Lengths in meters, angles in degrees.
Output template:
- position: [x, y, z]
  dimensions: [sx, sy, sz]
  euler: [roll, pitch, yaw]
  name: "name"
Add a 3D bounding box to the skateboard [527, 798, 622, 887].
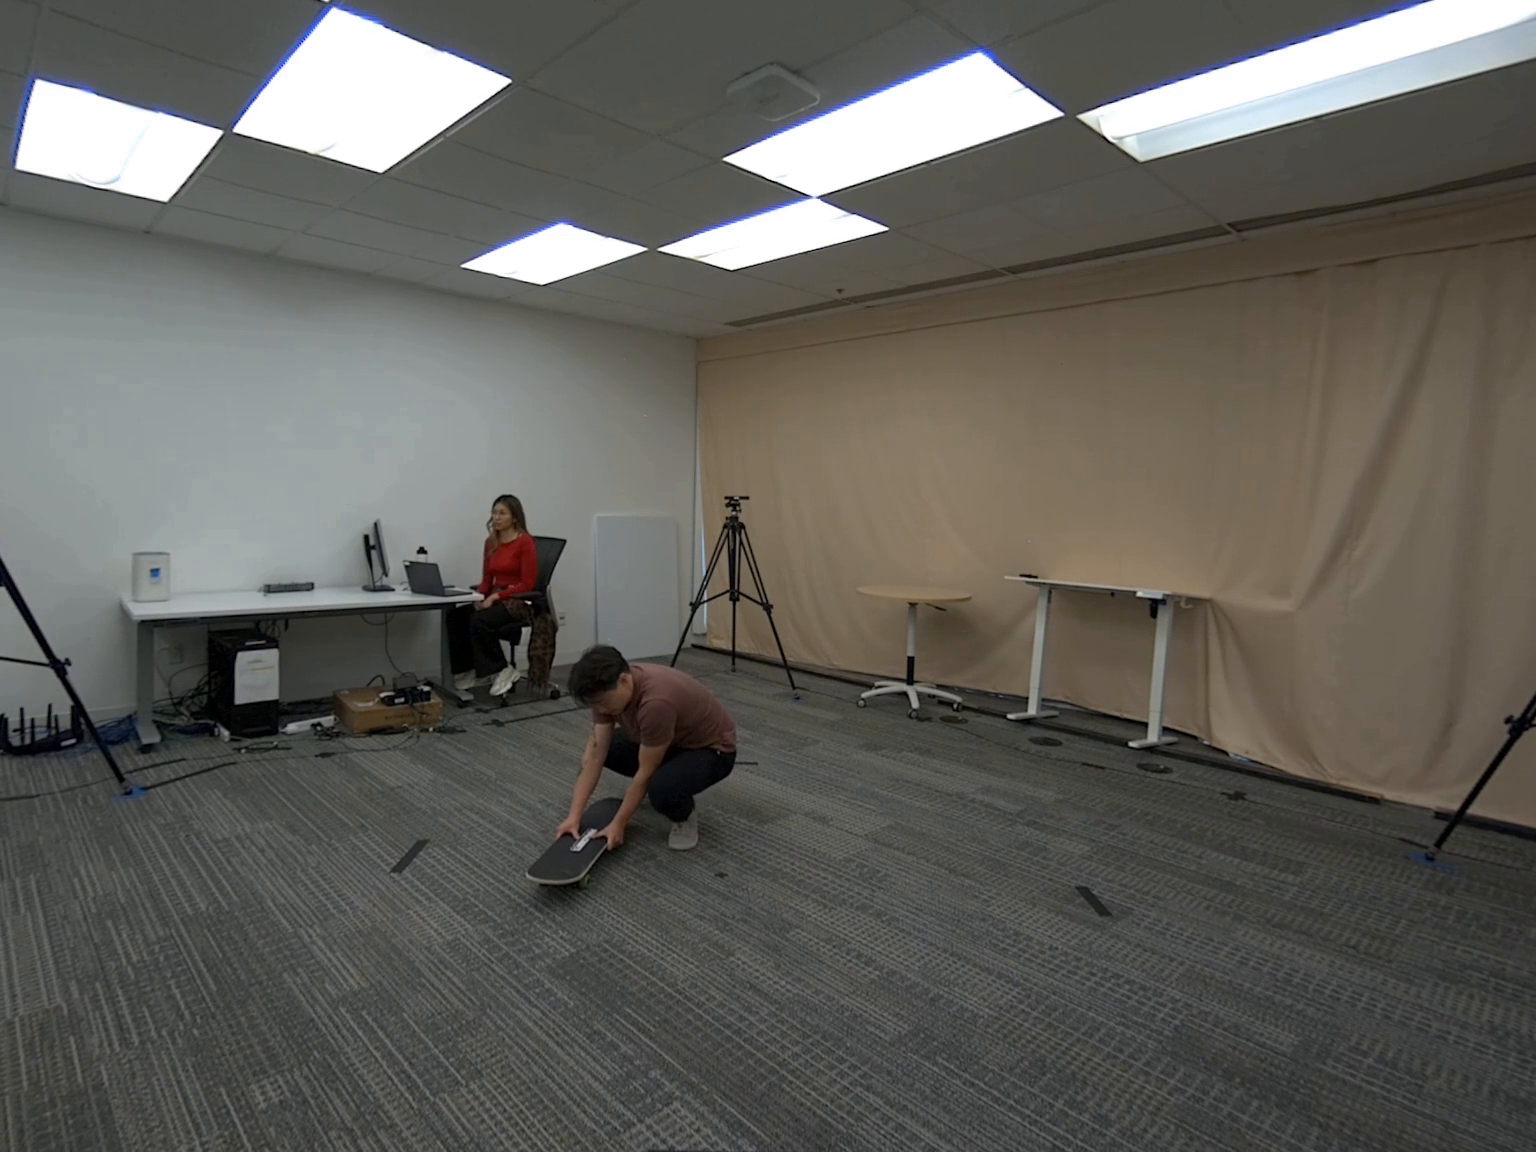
- position: [-0.707, 1.027, 3.179]
  dimensions: [0.195, 0.110, 0.782]
  euler: [4, 5, 8]
  name: "skateboard"
